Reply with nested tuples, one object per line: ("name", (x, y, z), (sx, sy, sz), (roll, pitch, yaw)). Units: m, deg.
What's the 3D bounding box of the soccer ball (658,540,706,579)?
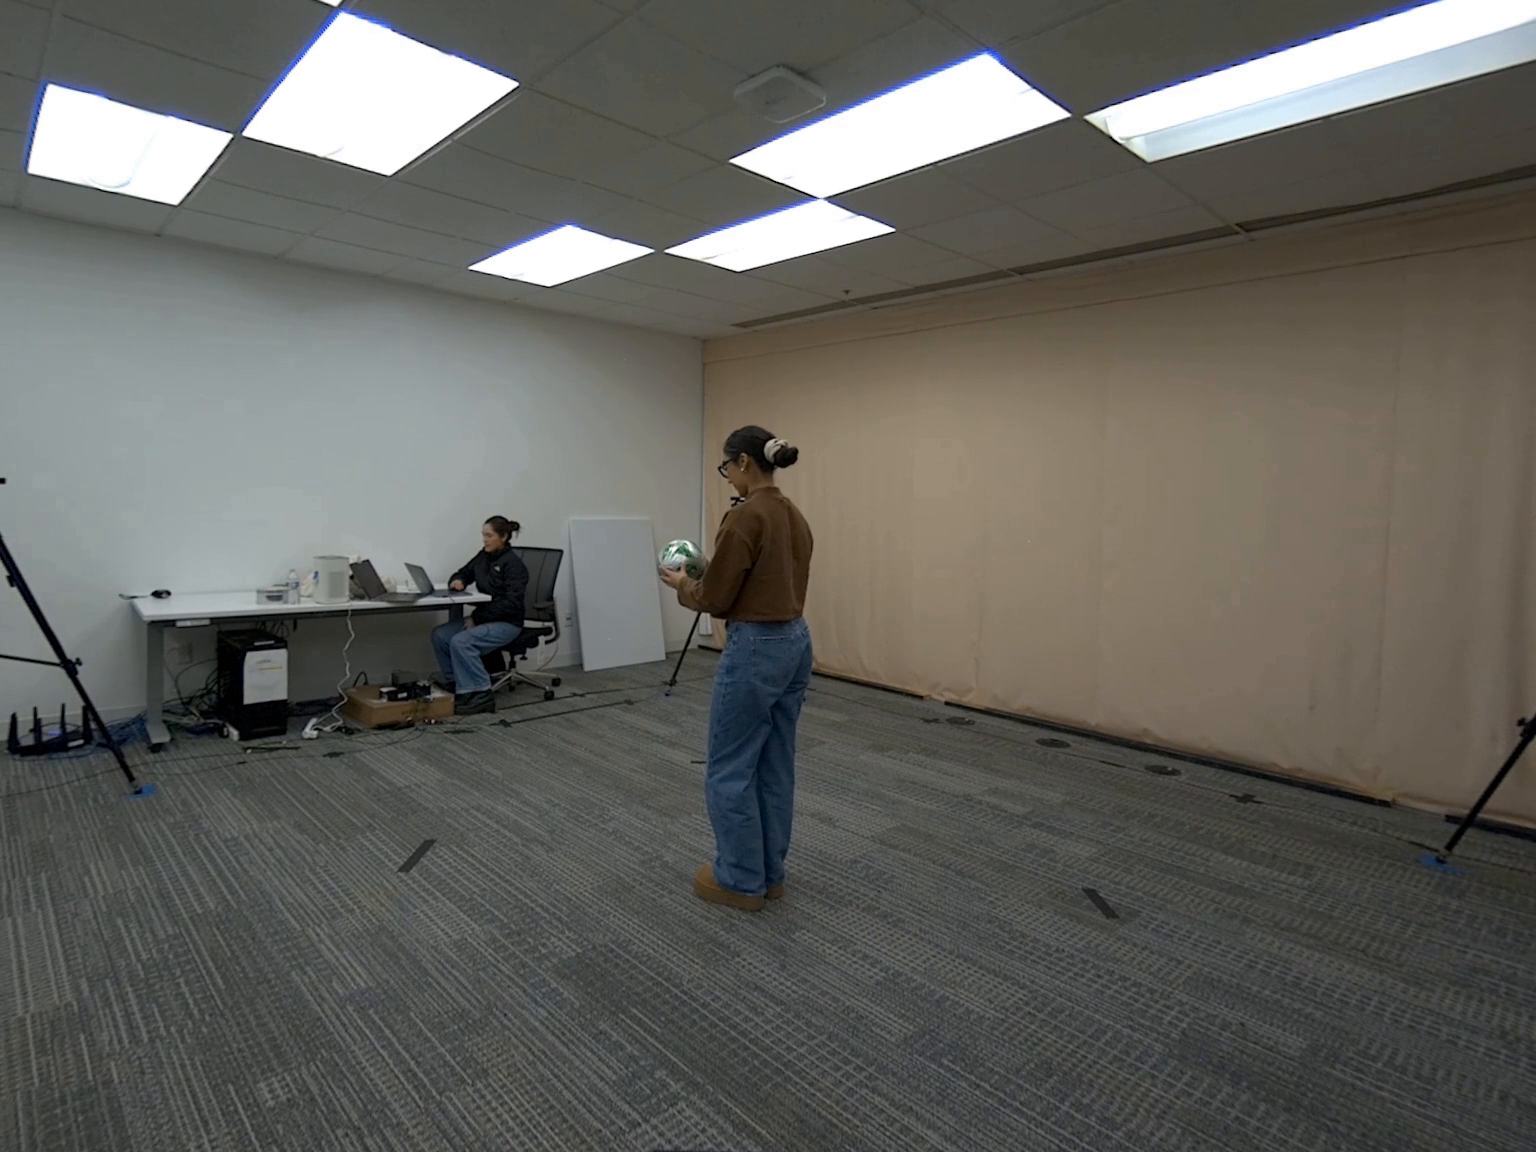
("soccer ball", (-0.330, -0.045, 3.147), (0.187, 0.187, 0.188), (1, 4, -1))
